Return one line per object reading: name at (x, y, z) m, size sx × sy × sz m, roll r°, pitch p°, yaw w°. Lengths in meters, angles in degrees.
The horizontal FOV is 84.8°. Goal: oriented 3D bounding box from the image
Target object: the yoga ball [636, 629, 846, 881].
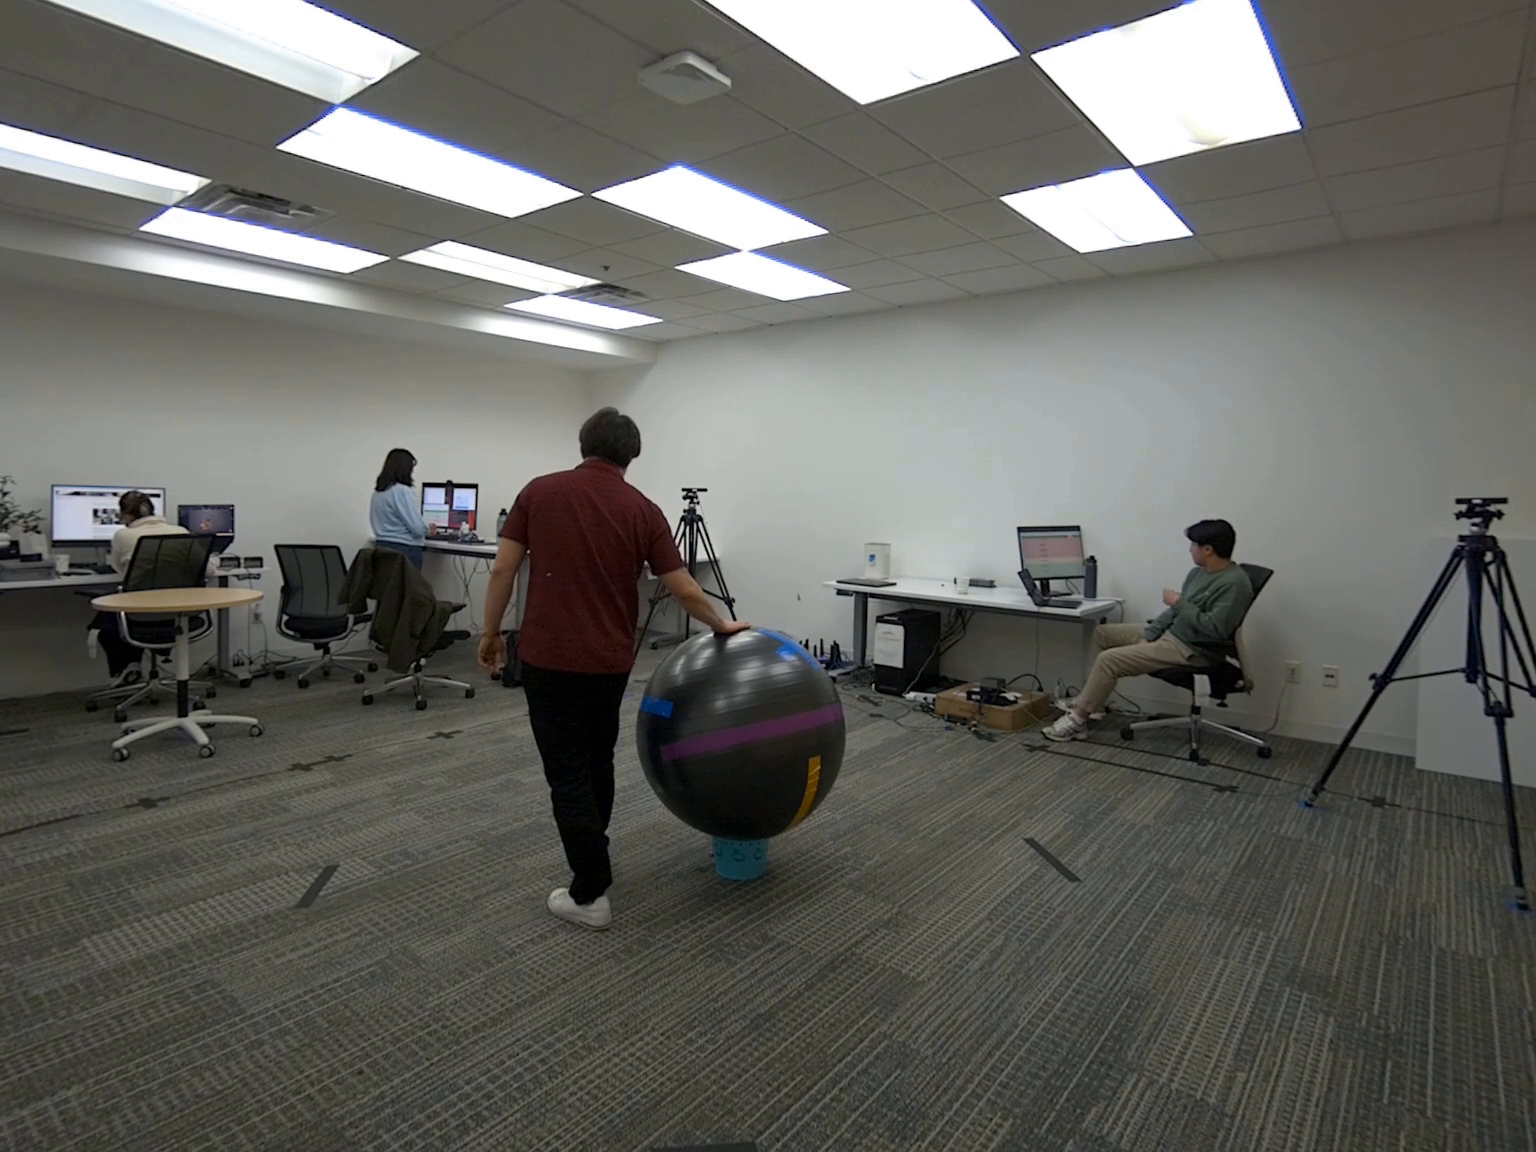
yoga ball at (-0.113, 0.561, 3.098) m, size 0.757 × 0.755 × 0.762 m, roll 1°, pitch 4°, yaw -2°
